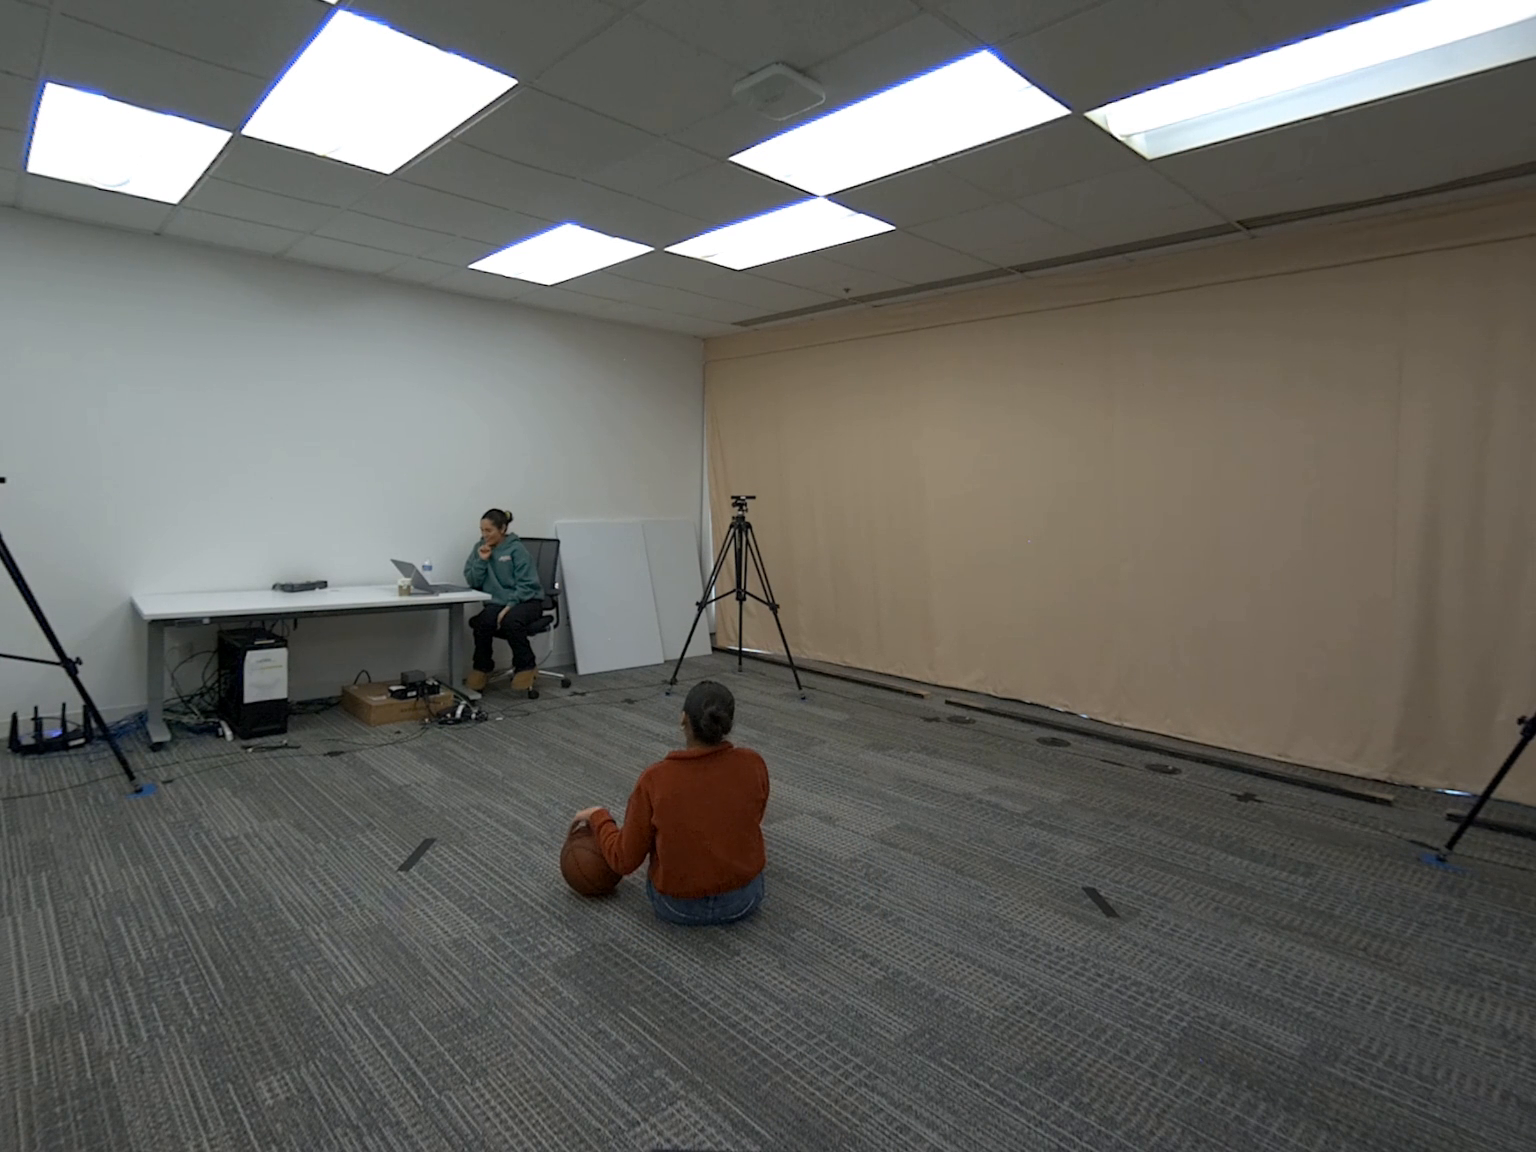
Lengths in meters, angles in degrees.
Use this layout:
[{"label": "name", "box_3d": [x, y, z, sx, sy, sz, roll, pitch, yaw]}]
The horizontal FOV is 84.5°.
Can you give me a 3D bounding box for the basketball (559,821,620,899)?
[{"label": "basketball", "box_3d": [-0.607, 0.984, 2.947, 0.236, 0.235, 0.237, 1, 4, -1]}]
